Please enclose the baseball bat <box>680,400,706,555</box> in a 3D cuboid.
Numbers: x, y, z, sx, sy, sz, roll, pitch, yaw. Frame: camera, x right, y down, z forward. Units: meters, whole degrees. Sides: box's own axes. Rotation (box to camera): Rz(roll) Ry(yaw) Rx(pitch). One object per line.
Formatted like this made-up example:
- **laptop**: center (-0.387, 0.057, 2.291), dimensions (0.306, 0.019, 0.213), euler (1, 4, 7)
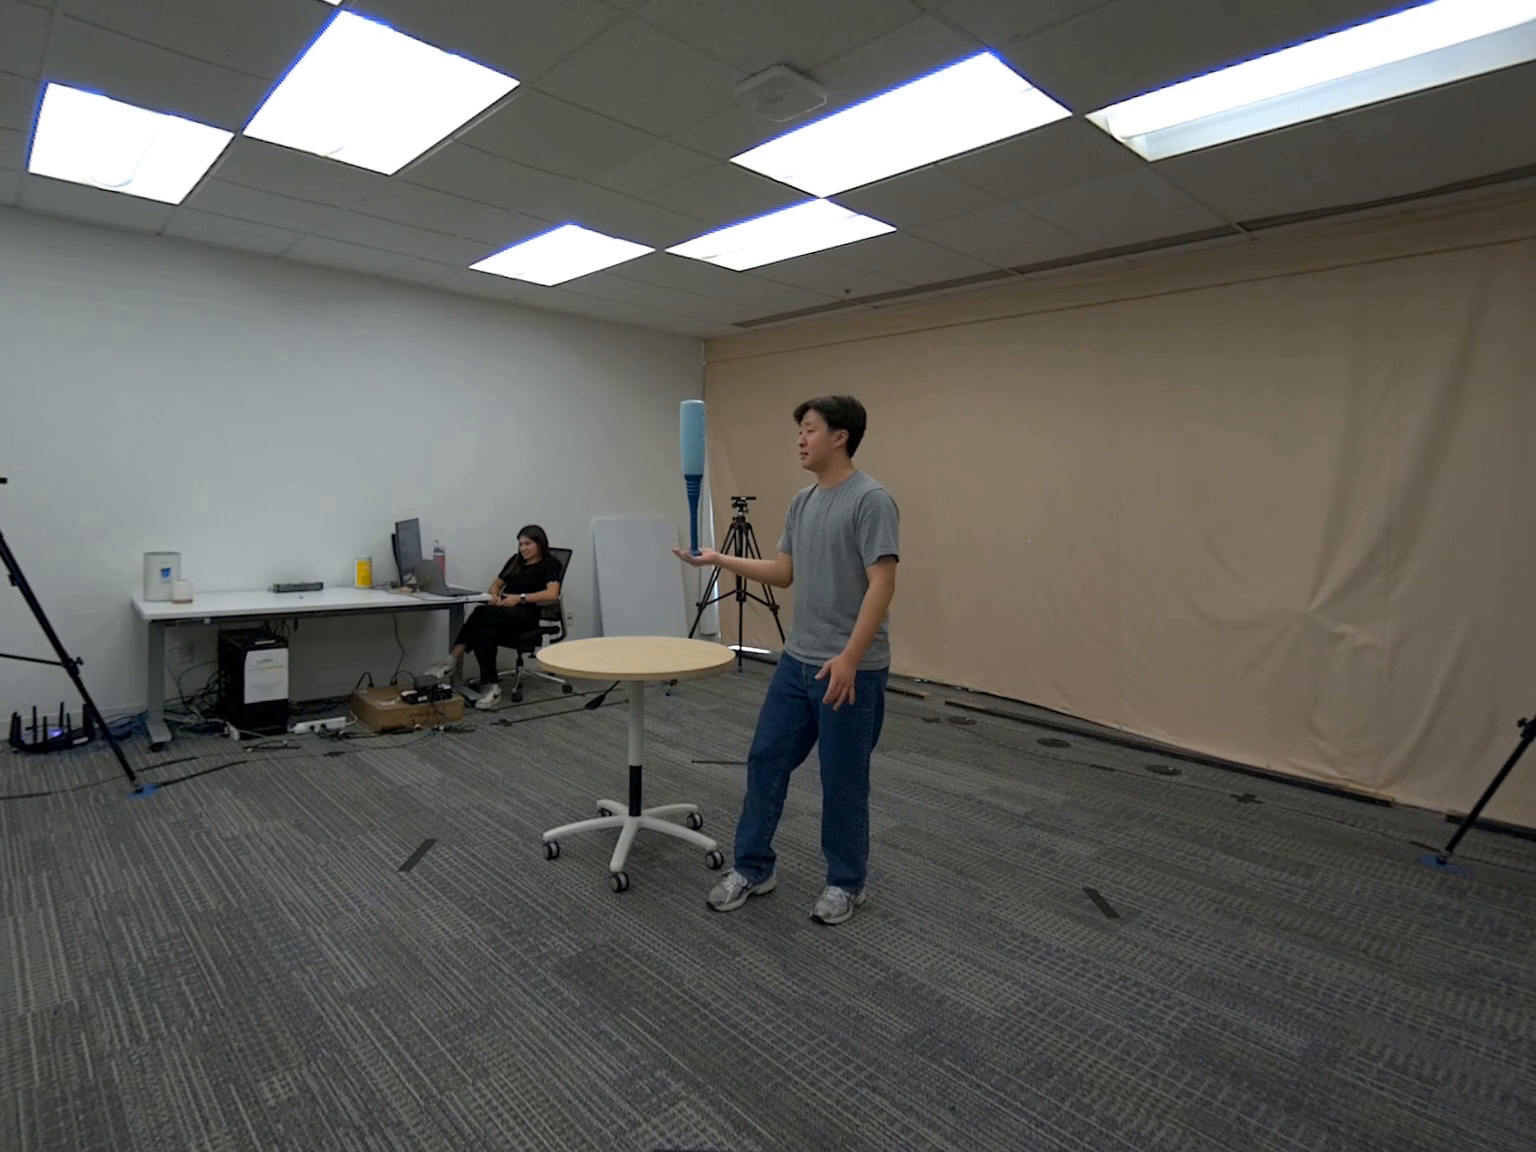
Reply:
- **baseball bat**: center (-0.260, -0.330, 2.892), dimensions (0.089, 0.539, 0.089), euler (0, 8, -1)
